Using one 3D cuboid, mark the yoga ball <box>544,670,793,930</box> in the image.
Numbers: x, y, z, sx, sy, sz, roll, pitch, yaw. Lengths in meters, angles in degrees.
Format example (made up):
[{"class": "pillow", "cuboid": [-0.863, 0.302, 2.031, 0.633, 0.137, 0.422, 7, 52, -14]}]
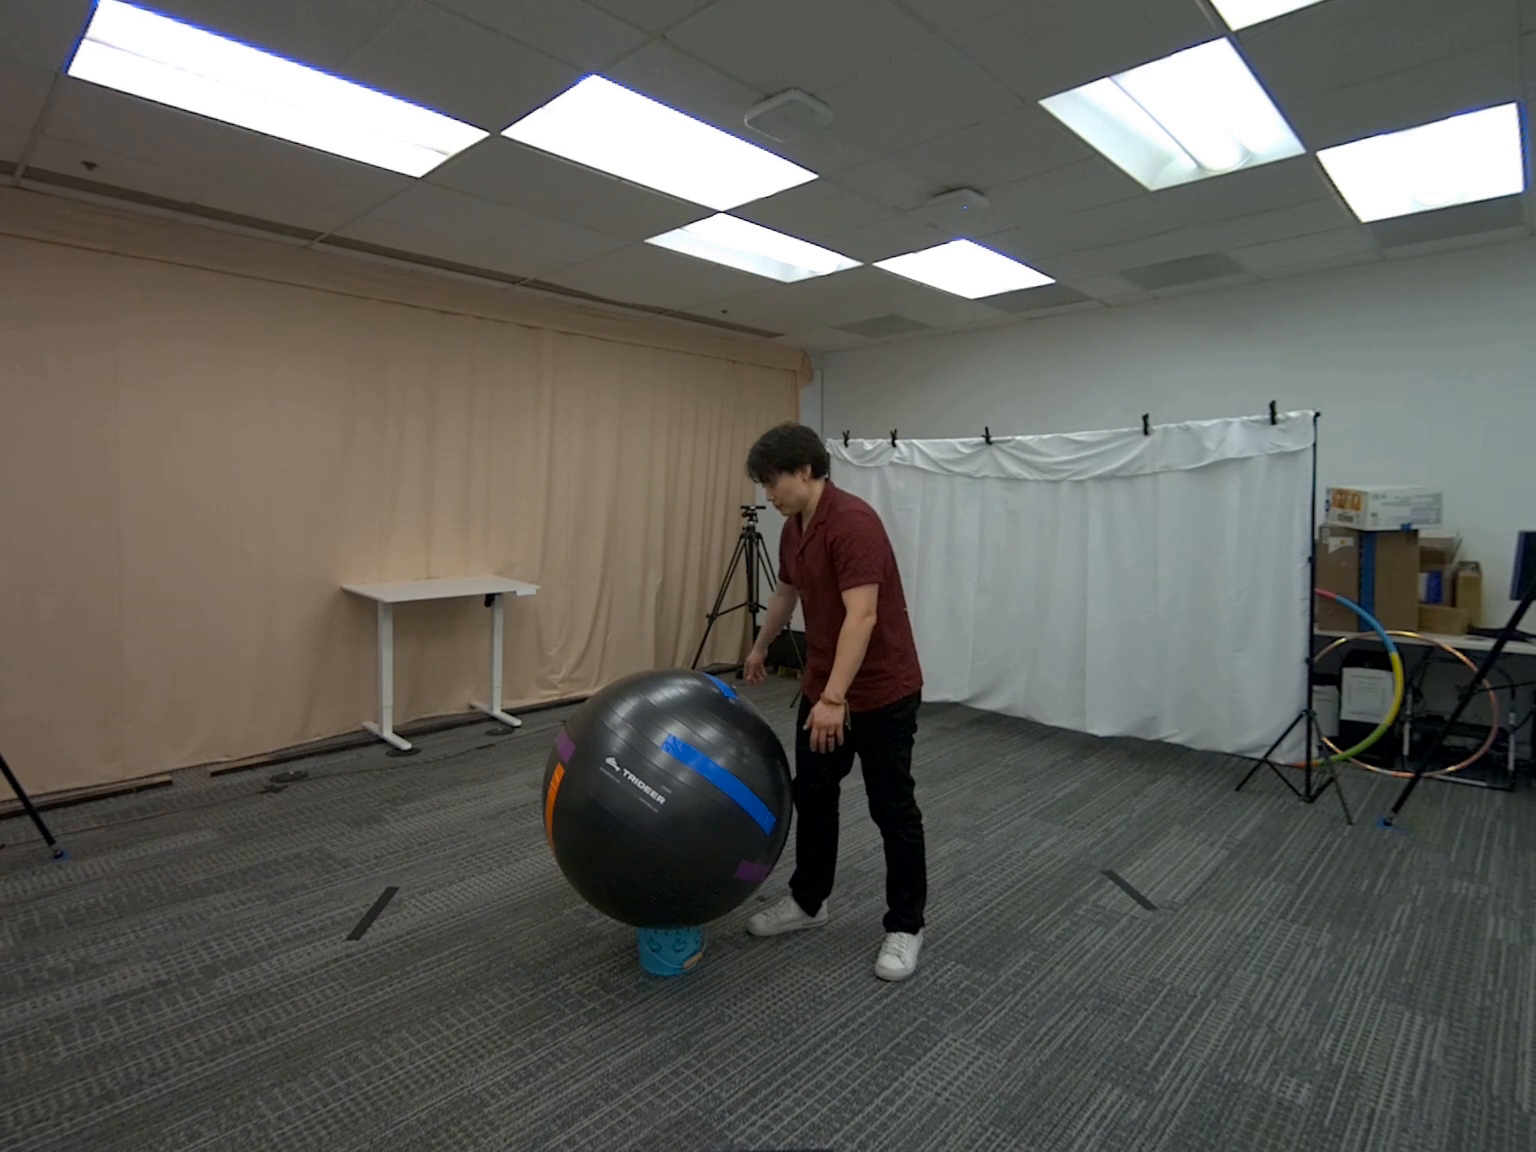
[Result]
[{"class": "yoga ball", "cuboid": [-0.306, 0.671, 2.567, 0.757, 0.756, 0.760, 0, 4, -2]}]
